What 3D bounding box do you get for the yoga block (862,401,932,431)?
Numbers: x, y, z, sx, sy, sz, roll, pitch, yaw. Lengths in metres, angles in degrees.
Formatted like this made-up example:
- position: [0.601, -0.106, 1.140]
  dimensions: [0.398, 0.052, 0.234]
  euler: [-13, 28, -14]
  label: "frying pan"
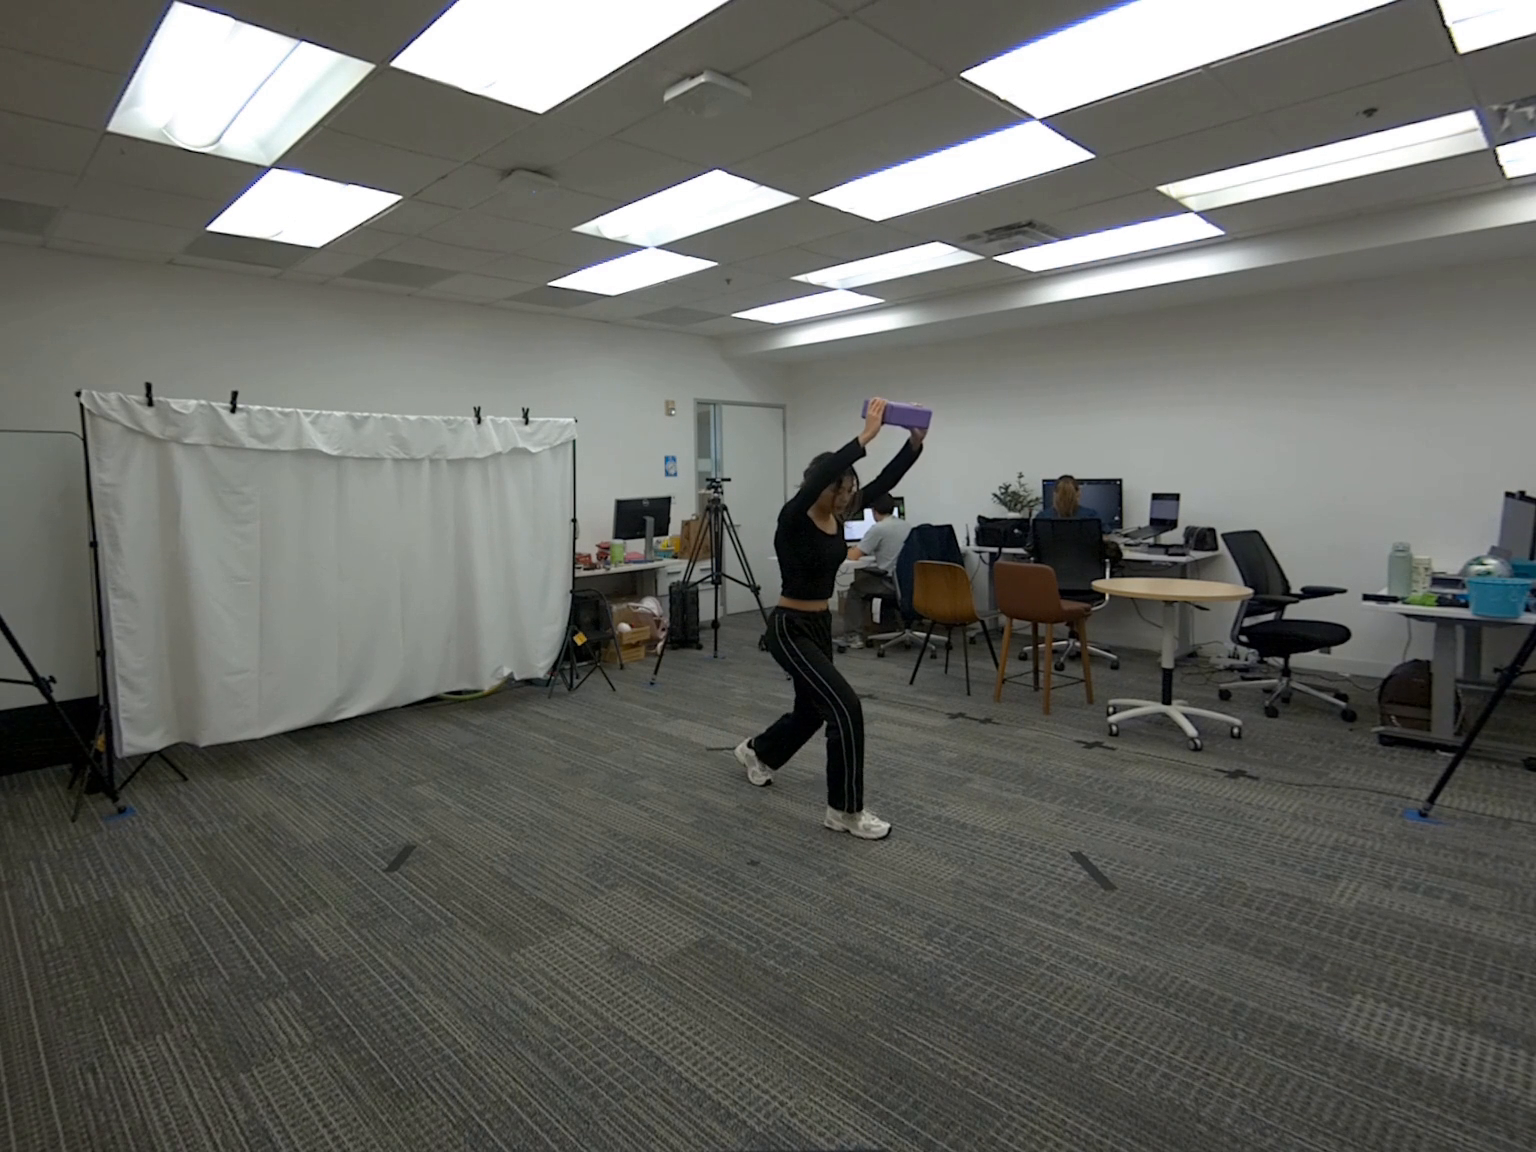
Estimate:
- position: [0.481, -0.602, 3.180]
  dimensions: [0.223, 0.076, 0.155]
  euler: [-2, 19, -39]
  label: "yoga block"
